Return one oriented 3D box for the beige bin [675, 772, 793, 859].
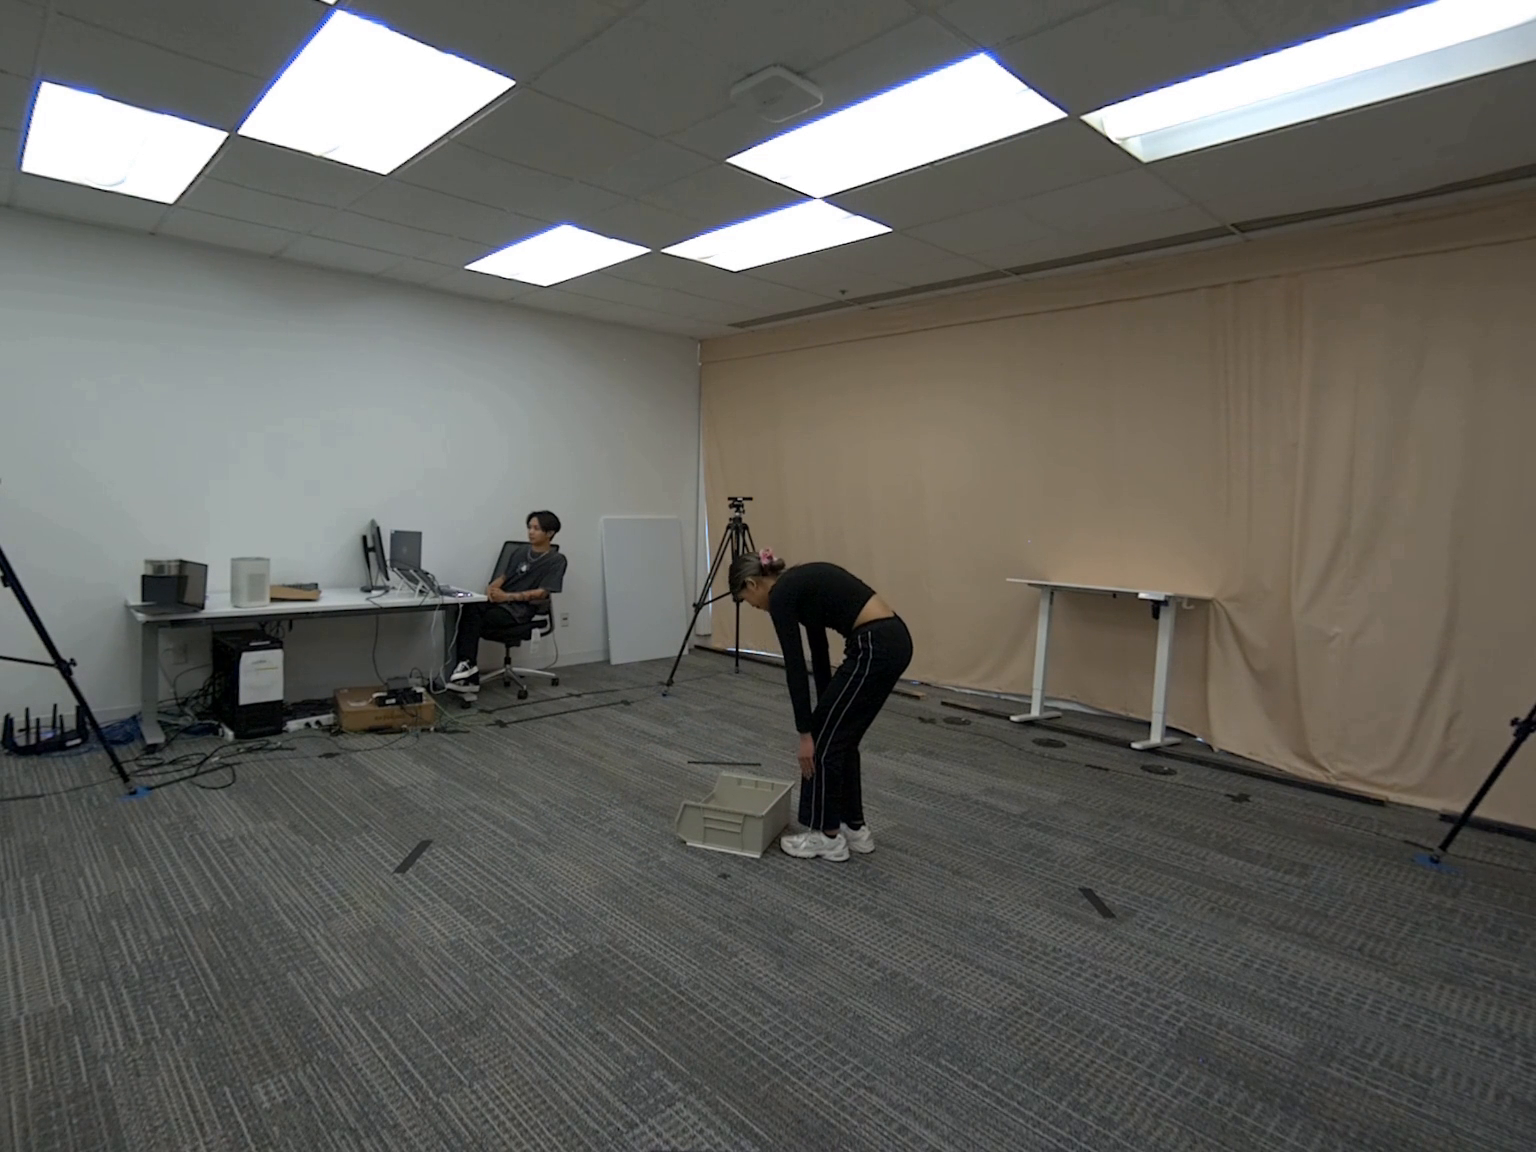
[{"bbox_3d":[-0.139,0.983,3.510,0.383,0.188,0.416,4,4,19],"label":"beige bin"}]
